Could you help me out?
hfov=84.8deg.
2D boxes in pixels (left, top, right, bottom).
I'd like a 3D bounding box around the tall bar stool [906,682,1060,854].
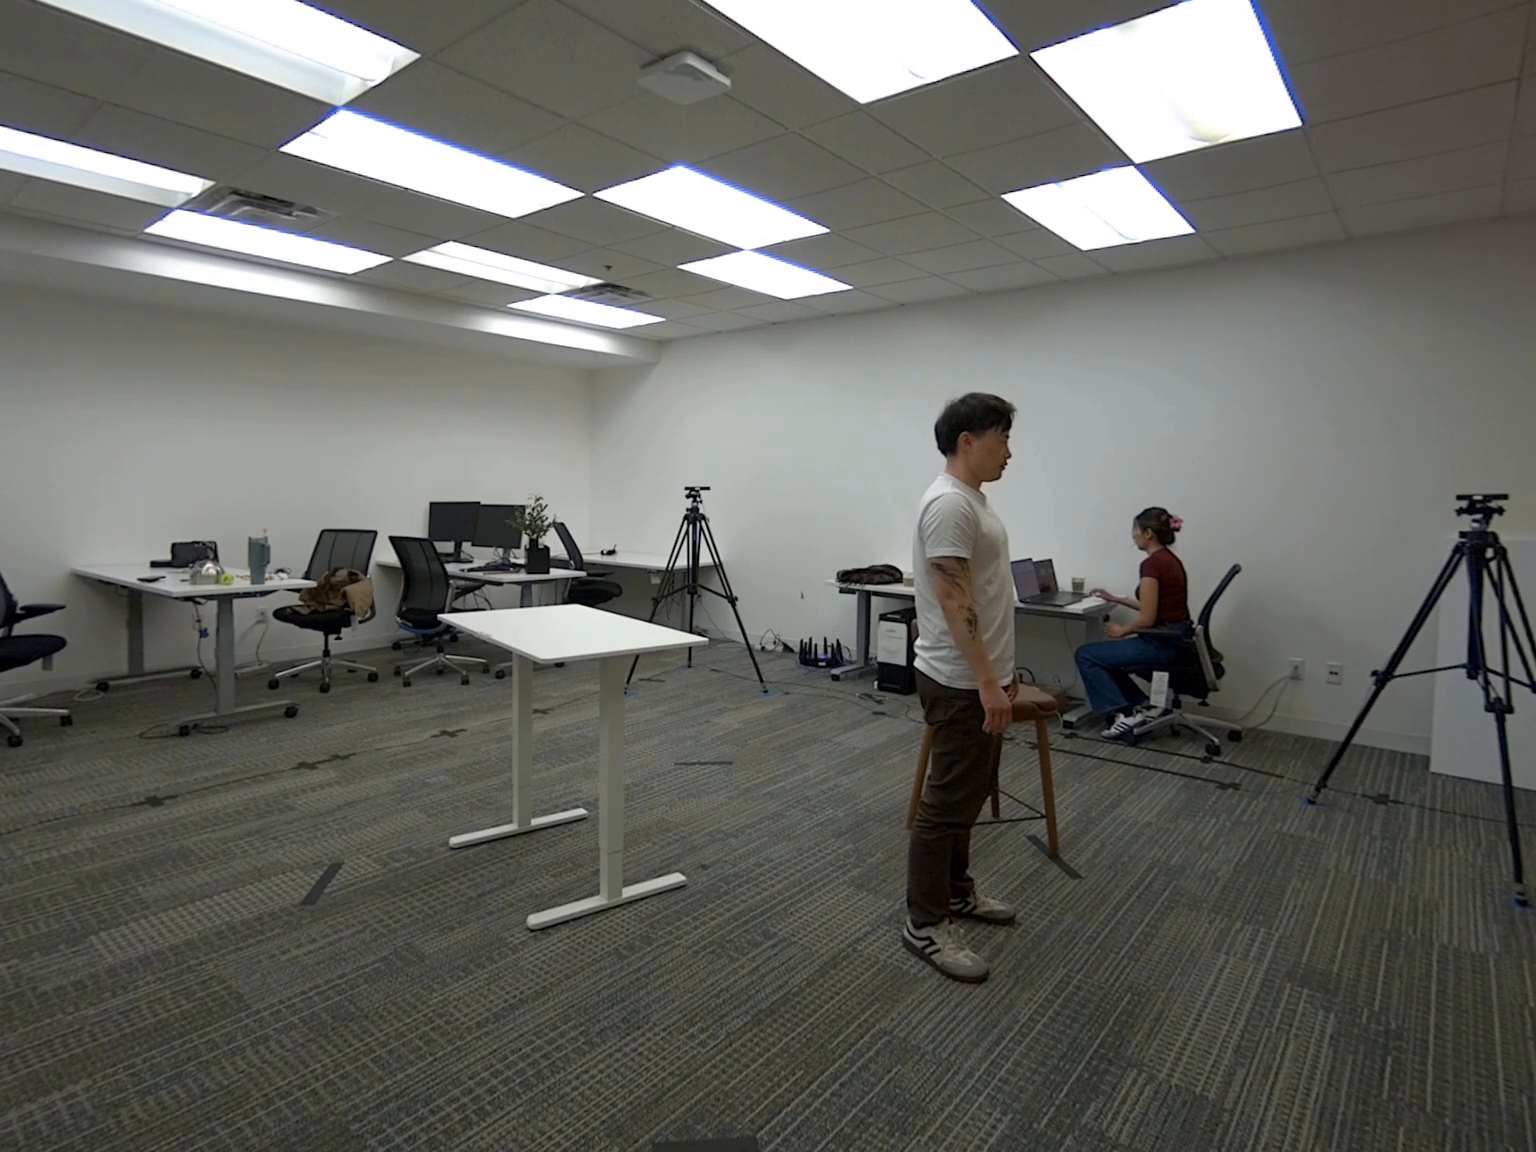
[{"bbox_3d":[0.842,0.622,3.383,0.459,0.886,0.467,-2,4,-19],"label":"tall bar stool"}]
